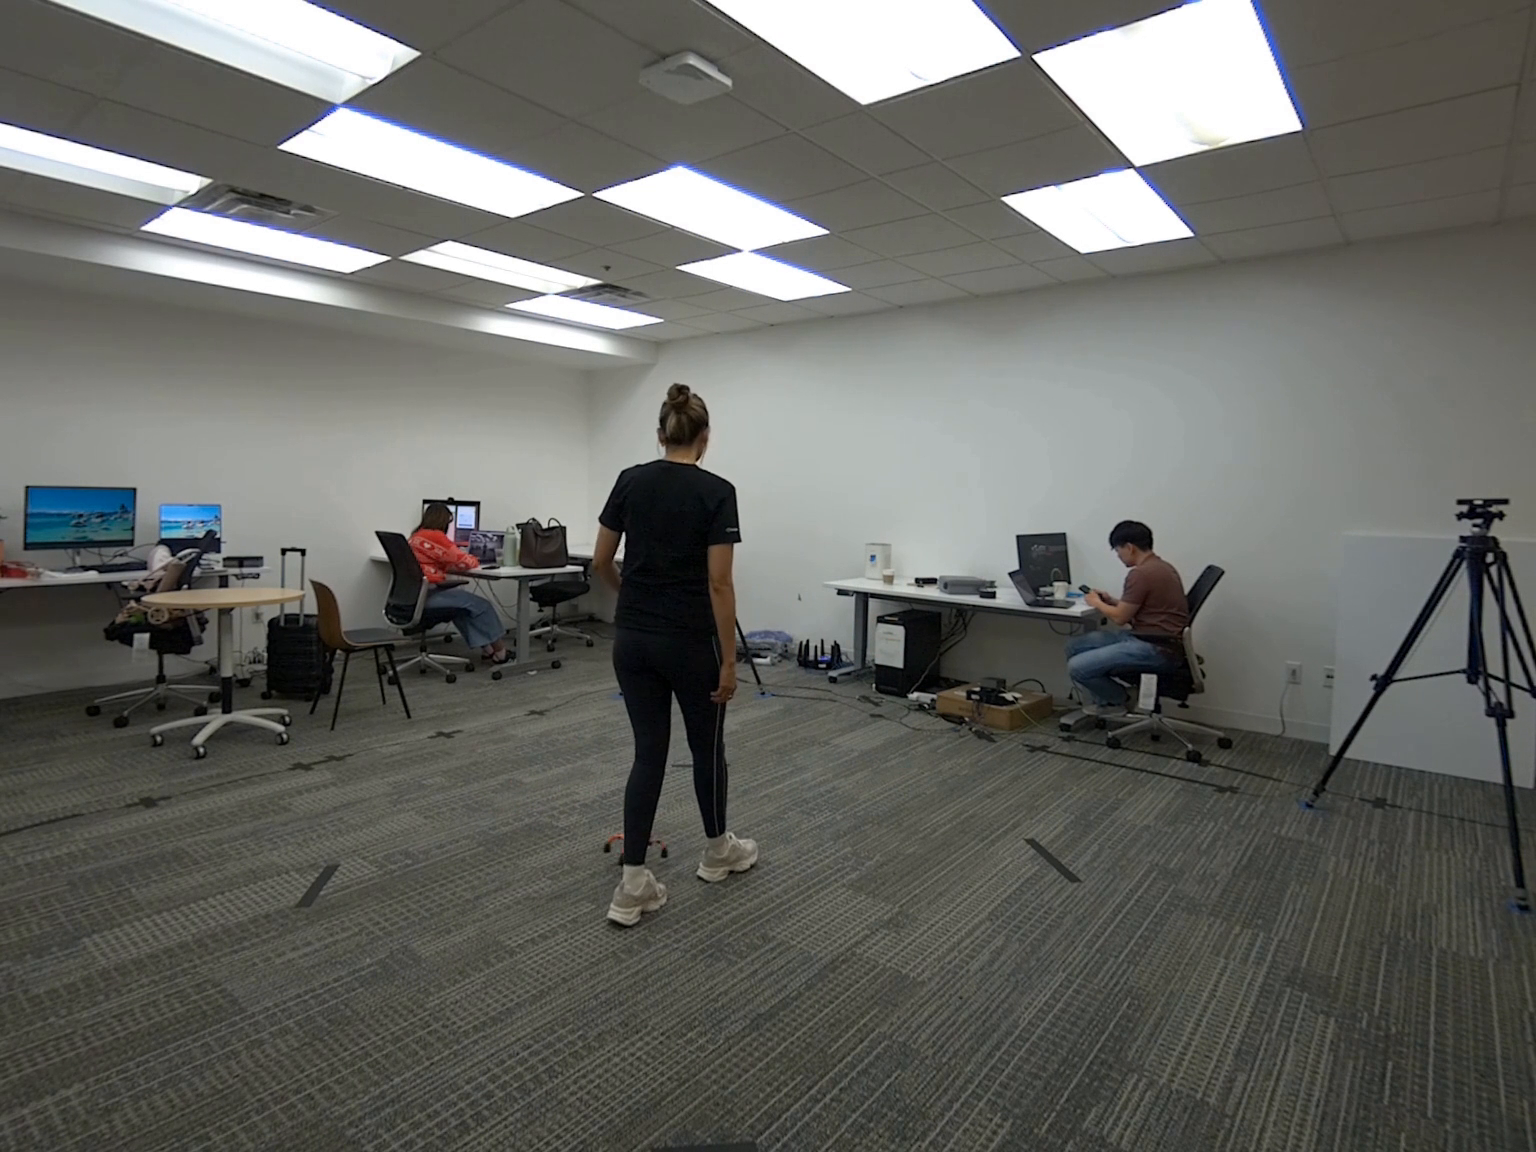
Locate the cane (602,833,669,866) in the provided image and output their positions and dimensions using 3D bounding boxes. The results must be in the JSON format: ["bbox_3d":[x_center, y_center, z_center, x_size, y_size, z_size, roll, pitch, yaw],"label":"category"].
[{"bbox_3d":[-0.465,0.567,3.140,0.200,0.907,0.157,4,2,-36],"label":"cane"}]
